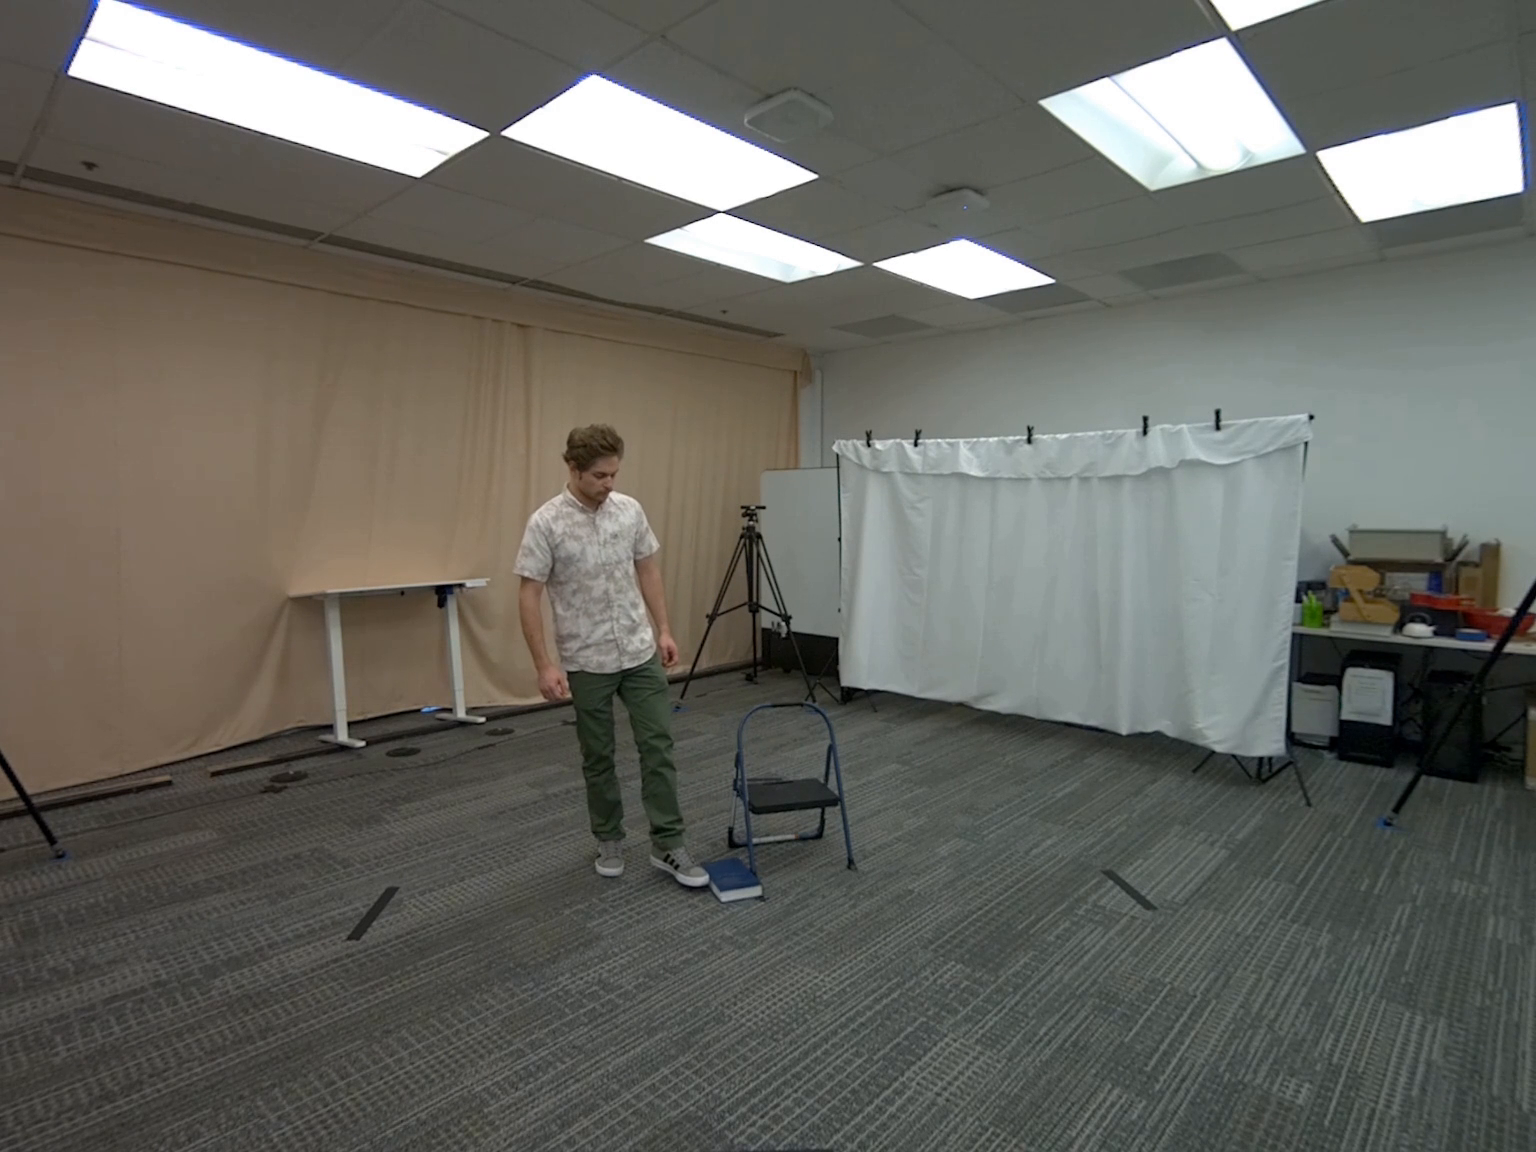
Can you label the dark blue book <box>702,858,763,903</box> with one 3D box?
[{"bbox_3d":[-0.141,1.115,3.080,0.160,0.045,0.251,-3,6,-22],"label":"dark blue book"}]
